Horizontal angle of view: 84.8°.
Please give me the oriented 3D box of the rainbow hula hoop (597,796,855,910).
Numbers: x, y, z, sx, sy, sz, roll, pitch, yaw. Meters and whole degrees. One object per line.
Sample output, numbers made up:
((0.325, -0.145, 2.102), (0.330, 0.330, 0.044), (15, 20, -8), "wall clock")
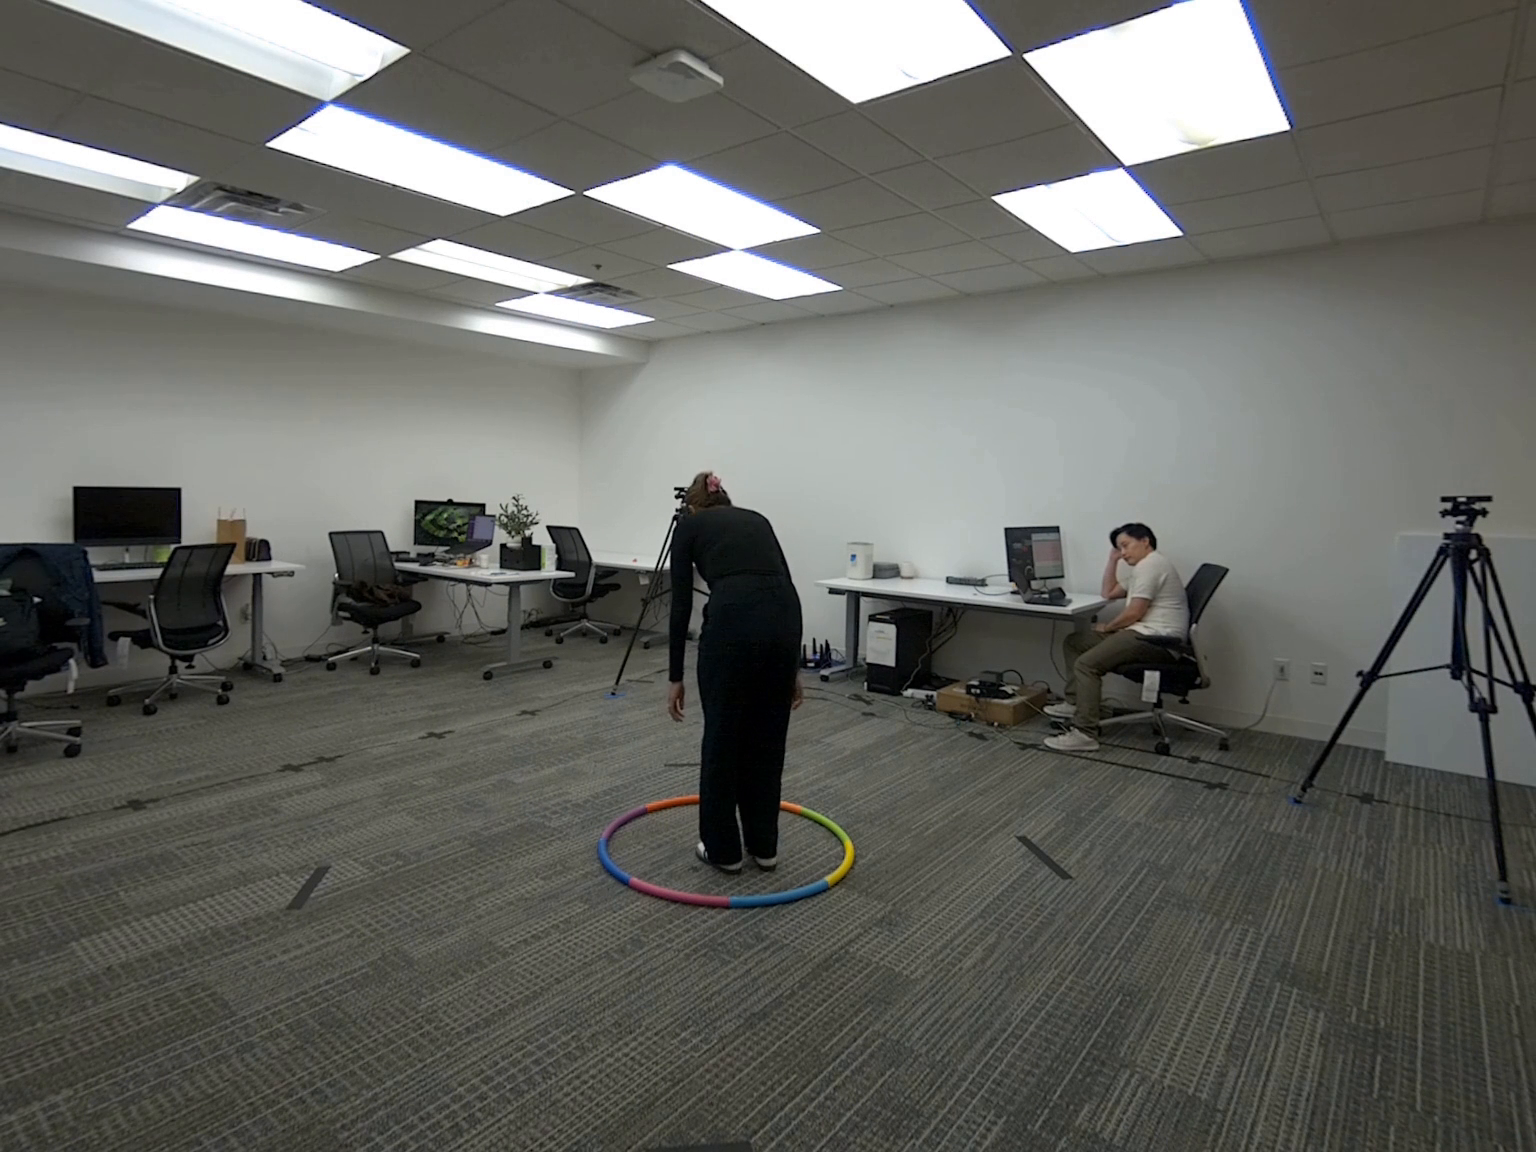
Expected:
((-0.169, 1.020, 3.293), (0.978, 0.035, 0.984), (1, 6, -2), "rainbow hula hoop")
